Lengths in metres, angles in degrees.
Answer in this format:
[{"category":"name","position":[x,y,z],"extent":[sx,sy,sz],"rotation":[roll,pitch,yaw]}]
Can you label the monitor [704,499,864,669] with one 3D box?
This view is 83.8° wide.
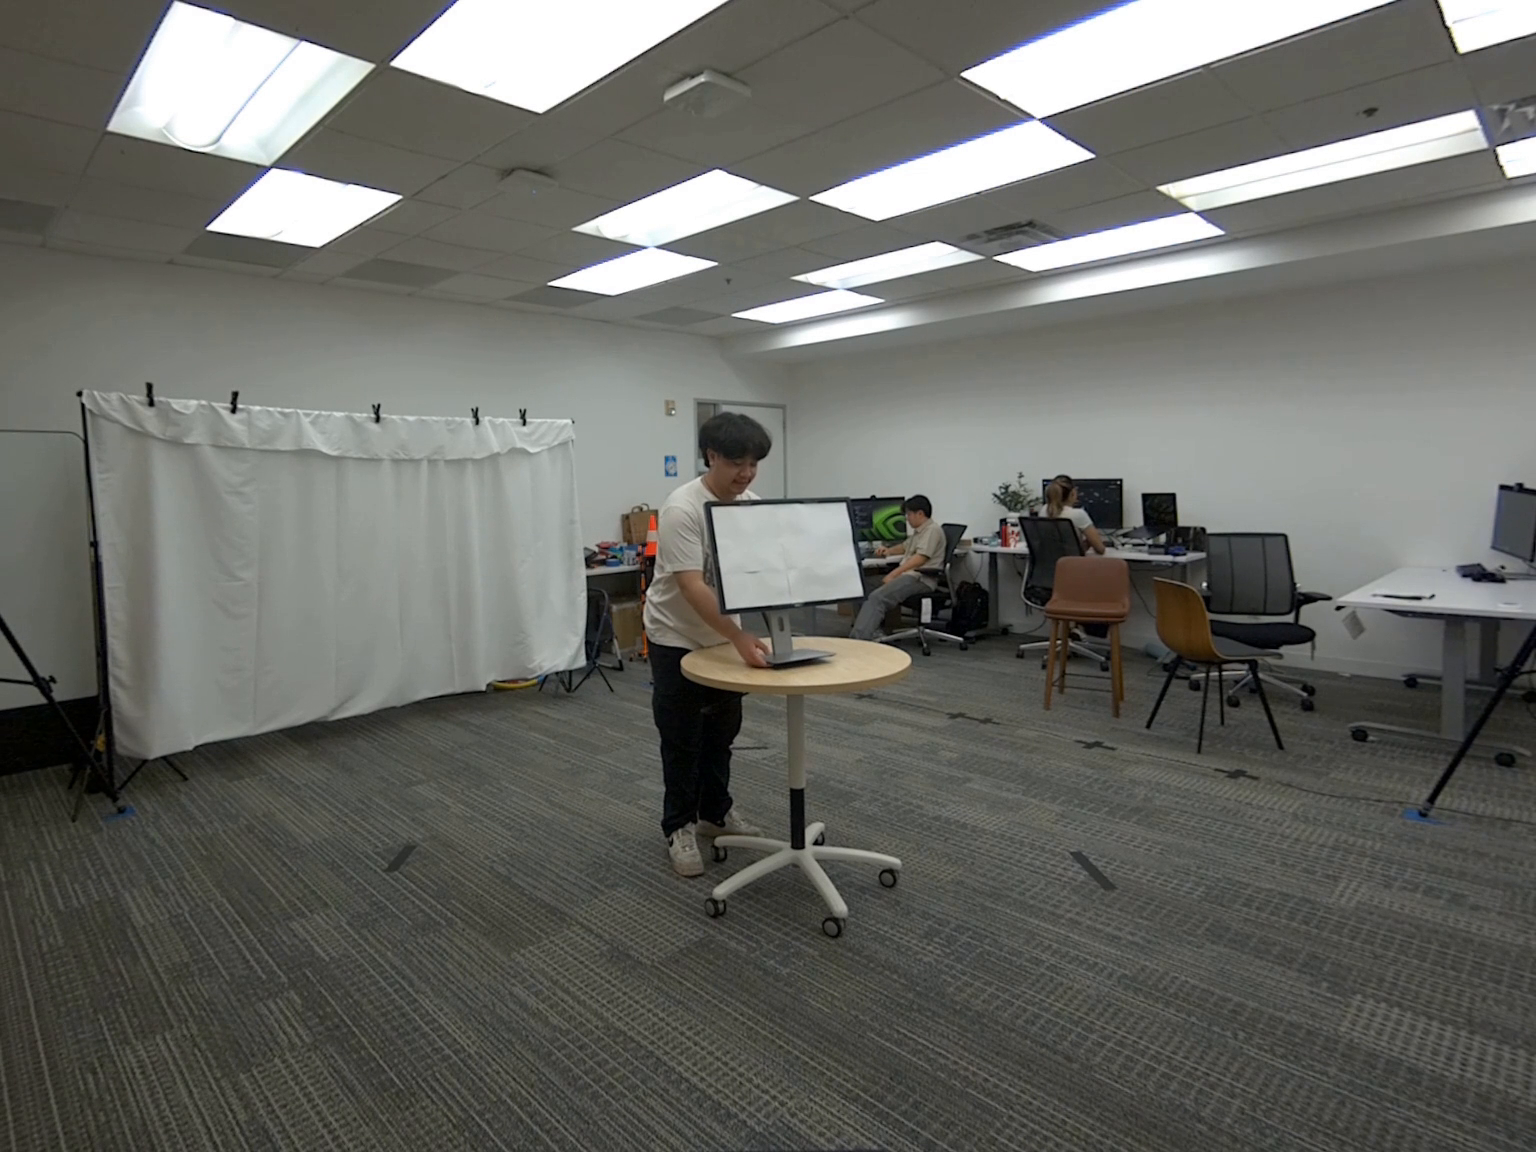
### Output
[{"category":"monitor","position":[0.040,0.020,2.848],"extent":[0.552,0.557,0.214],"rotation":[-5,-5,-30]}]
